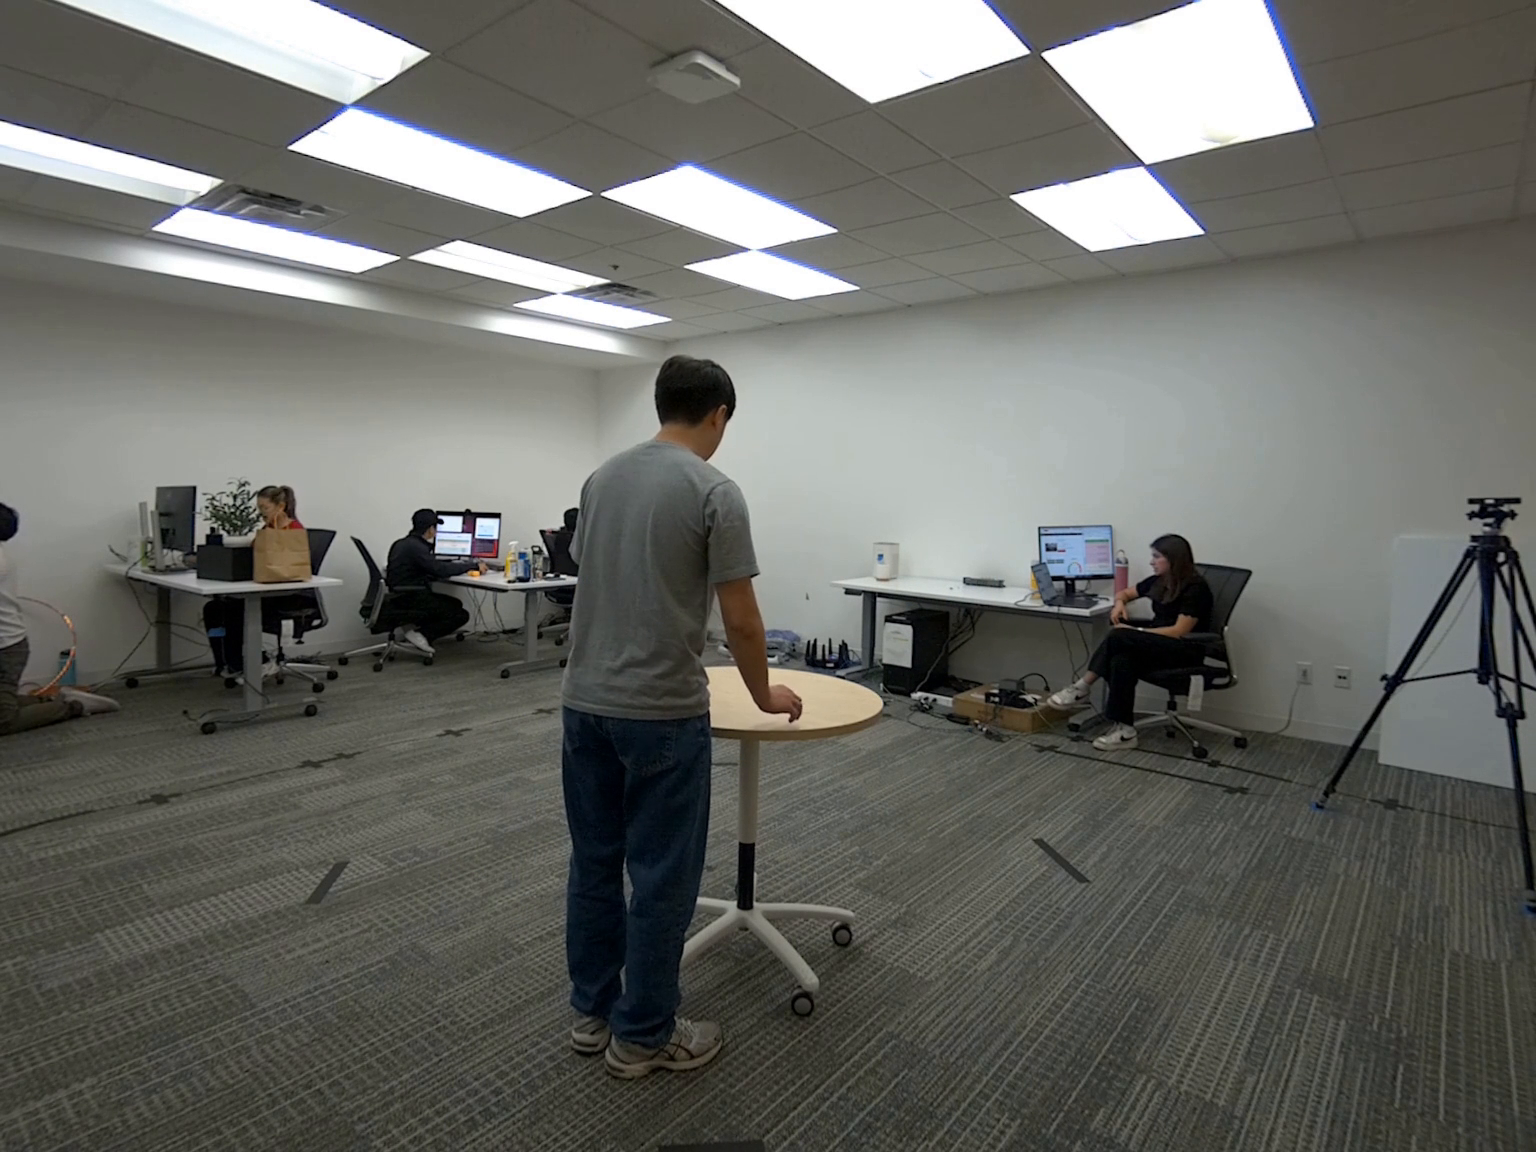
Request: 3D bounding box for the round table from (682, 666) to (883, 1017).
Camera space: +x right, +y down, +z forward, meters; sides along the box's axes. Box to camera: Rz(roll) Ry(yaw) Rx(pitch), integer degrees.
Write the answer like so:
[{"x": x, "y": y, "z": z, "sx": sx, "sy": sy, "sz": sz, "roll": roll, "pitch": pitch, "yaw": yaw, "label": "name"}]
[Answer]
[{"x": -0.068, "y": 0.739, "z": 2.535, "sx": 0.763, "sy": 0.791, "sz": 0.768, "roll": 1, "pitch": 5, "yaw": -2, "label": "round table"}]
